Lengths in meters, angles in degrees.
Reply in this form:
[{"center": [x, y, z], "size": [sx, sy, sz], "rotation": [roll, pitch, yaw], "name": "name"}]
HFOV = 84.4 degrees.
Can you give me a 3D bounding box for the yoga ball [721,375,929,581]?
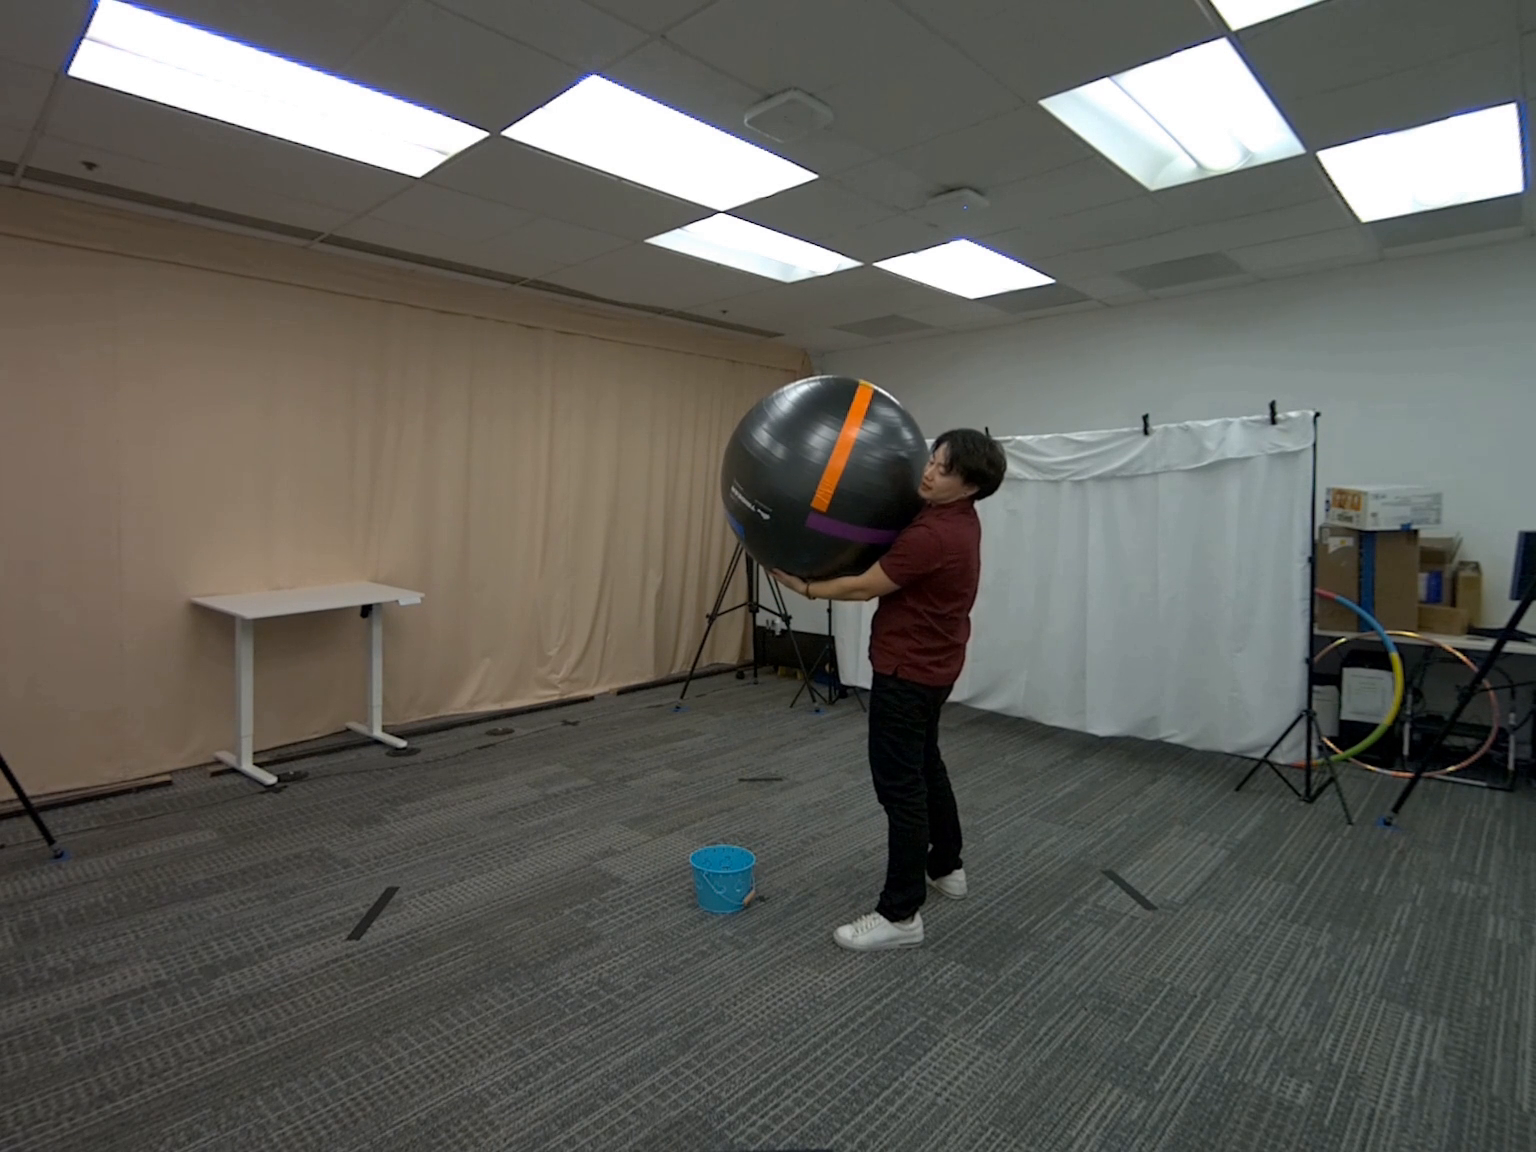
[{"center": [0.215, -0.333, 3.043], "size": [0.757, 0.756, 0.760], "rotation": [0, 4, -2], "name": "yoga ball"}]
